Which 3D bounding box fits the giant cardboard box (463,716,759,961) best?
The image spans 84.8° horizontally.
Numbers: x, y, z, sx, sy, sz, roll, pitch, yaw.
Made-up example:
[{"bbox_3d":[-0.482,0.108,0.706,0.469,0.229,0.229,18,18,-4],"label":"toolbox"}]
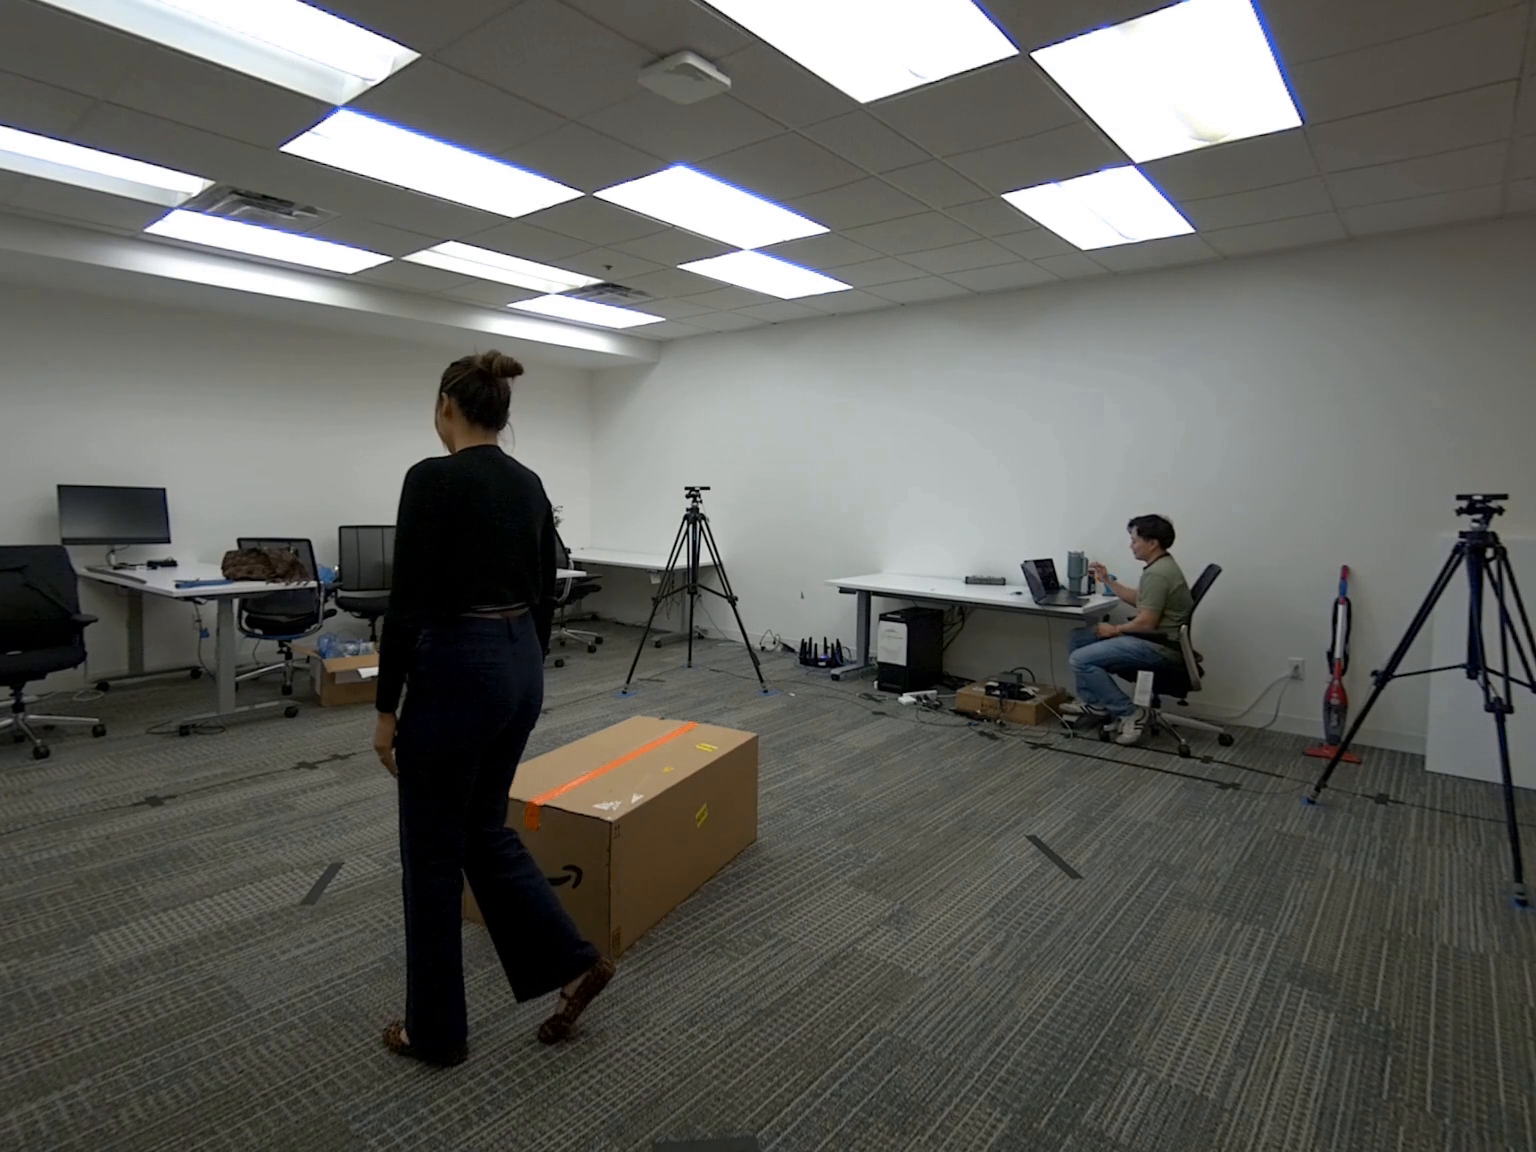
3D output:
[{"bbox_3d":[-0.517,0.855,3.038,0.592,0.425,1.003,2,5,25],"label":"giant cardboard box"}]
